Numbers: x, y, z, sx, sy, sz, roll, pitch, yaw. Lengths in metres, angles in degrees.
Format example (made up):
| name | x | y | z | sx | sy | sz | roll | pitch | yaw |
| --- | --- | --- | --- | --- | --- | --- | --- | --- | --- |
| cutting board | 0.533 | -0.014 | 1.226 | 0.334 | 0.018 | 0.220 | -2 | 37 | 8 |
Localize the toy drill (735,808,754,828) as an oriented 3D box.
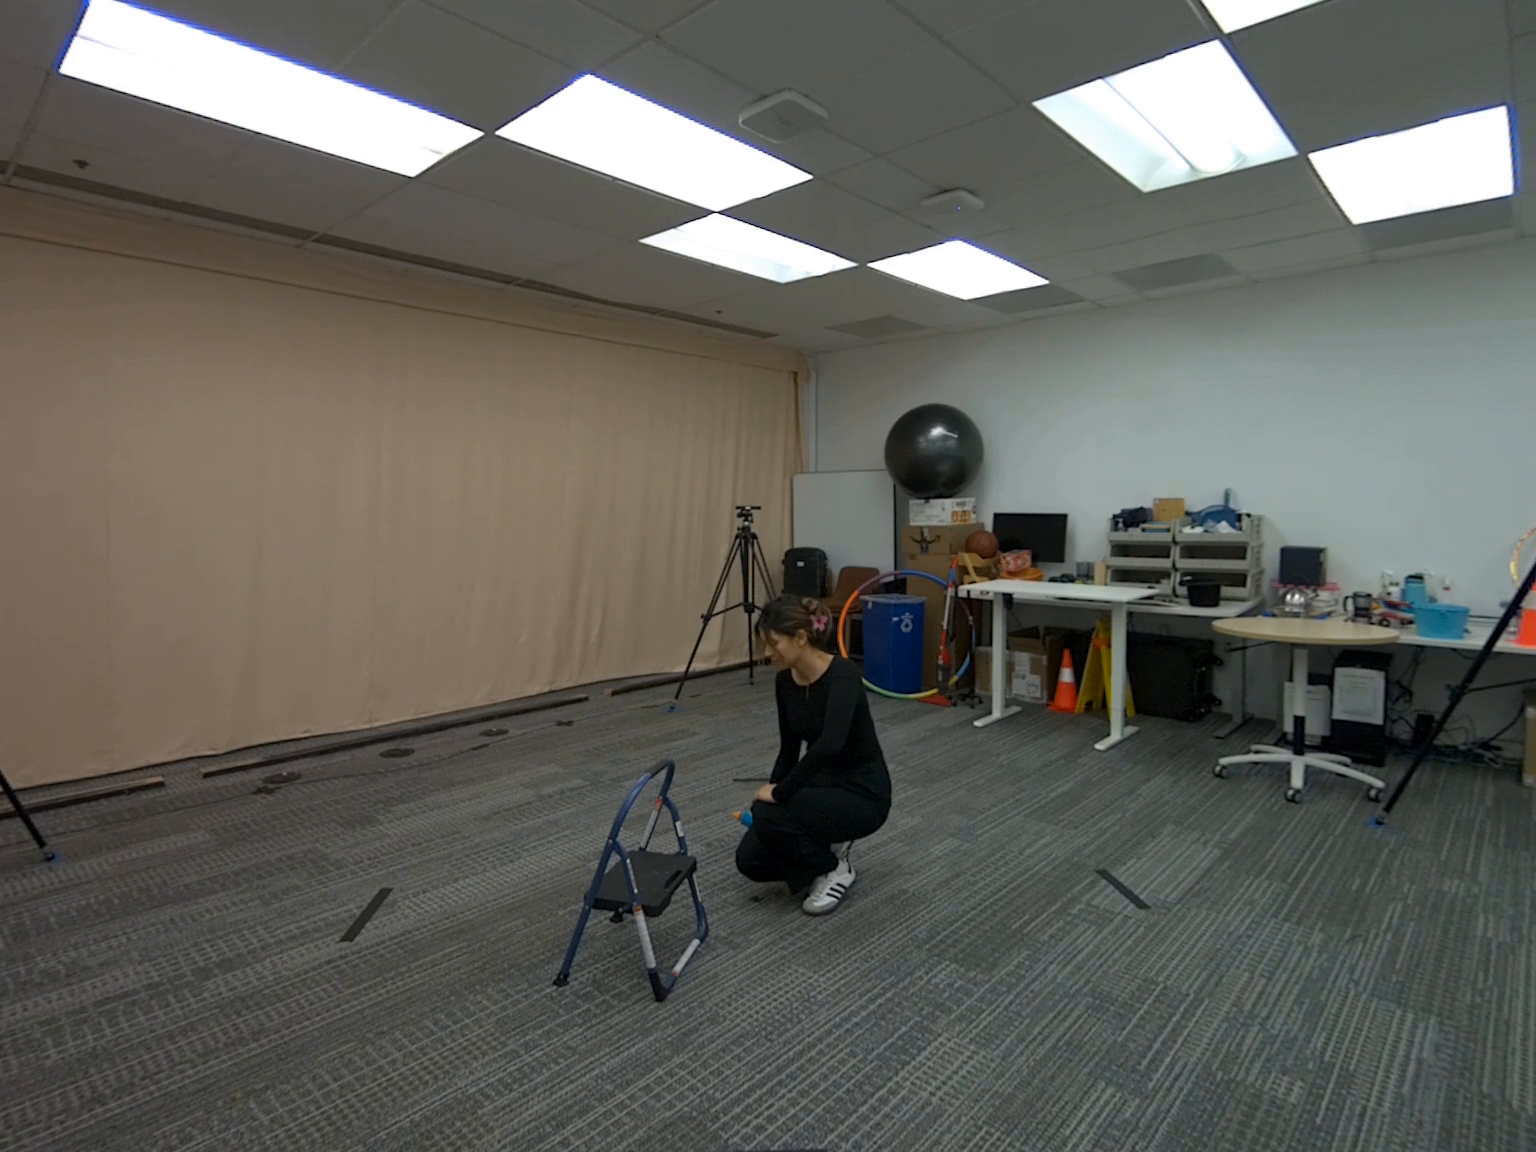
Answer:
| name | x | y | z | sx | sy | sz | roll | pitch | yaw |
| --- | --- | --- | --- | --- | --- | --- | --- | --- | --- |
| toy drill | -0.083 | 1.032 | 3.441 | 0.059 | 0.146 | 0.175 | -6 | 4 | -43 |
